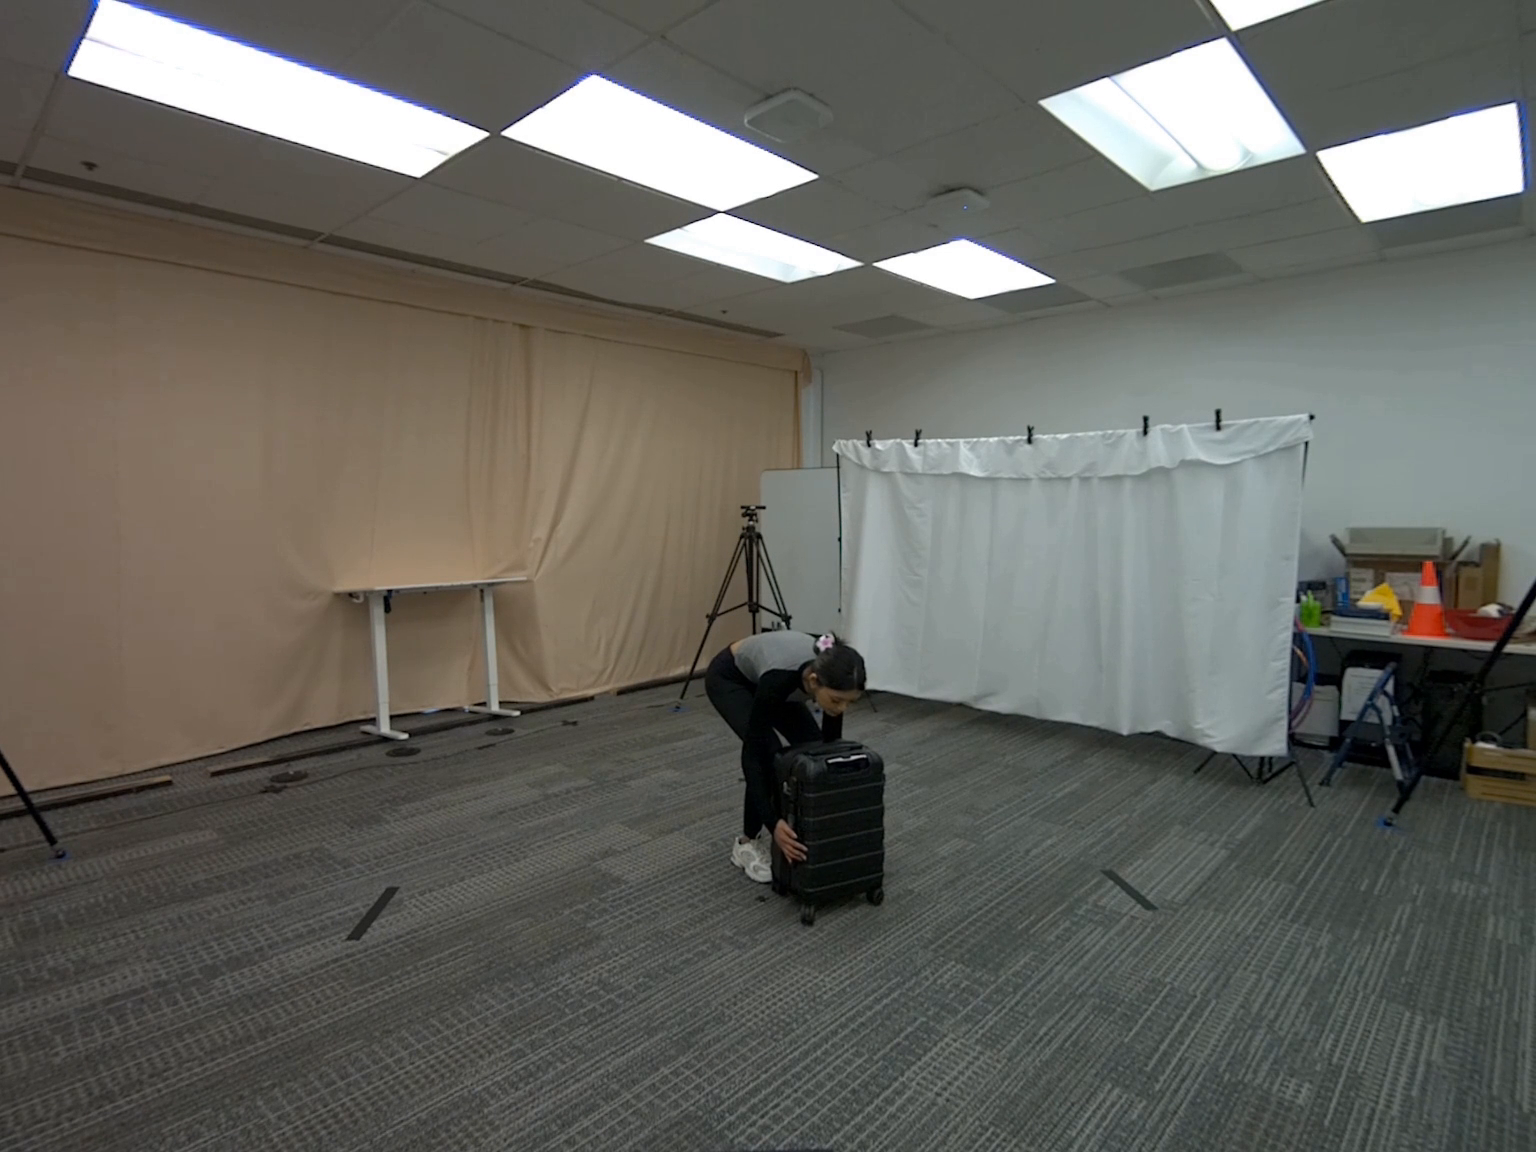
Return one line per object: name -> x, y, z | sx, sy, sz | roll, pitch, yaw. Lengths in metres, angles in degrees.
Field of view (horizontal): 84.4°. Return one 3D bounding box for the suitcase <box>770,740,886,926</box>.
suitcase -> 0.214, 0.859, 2.961 | 0.365, 0.548, 0.255 | -1, 3, -29
